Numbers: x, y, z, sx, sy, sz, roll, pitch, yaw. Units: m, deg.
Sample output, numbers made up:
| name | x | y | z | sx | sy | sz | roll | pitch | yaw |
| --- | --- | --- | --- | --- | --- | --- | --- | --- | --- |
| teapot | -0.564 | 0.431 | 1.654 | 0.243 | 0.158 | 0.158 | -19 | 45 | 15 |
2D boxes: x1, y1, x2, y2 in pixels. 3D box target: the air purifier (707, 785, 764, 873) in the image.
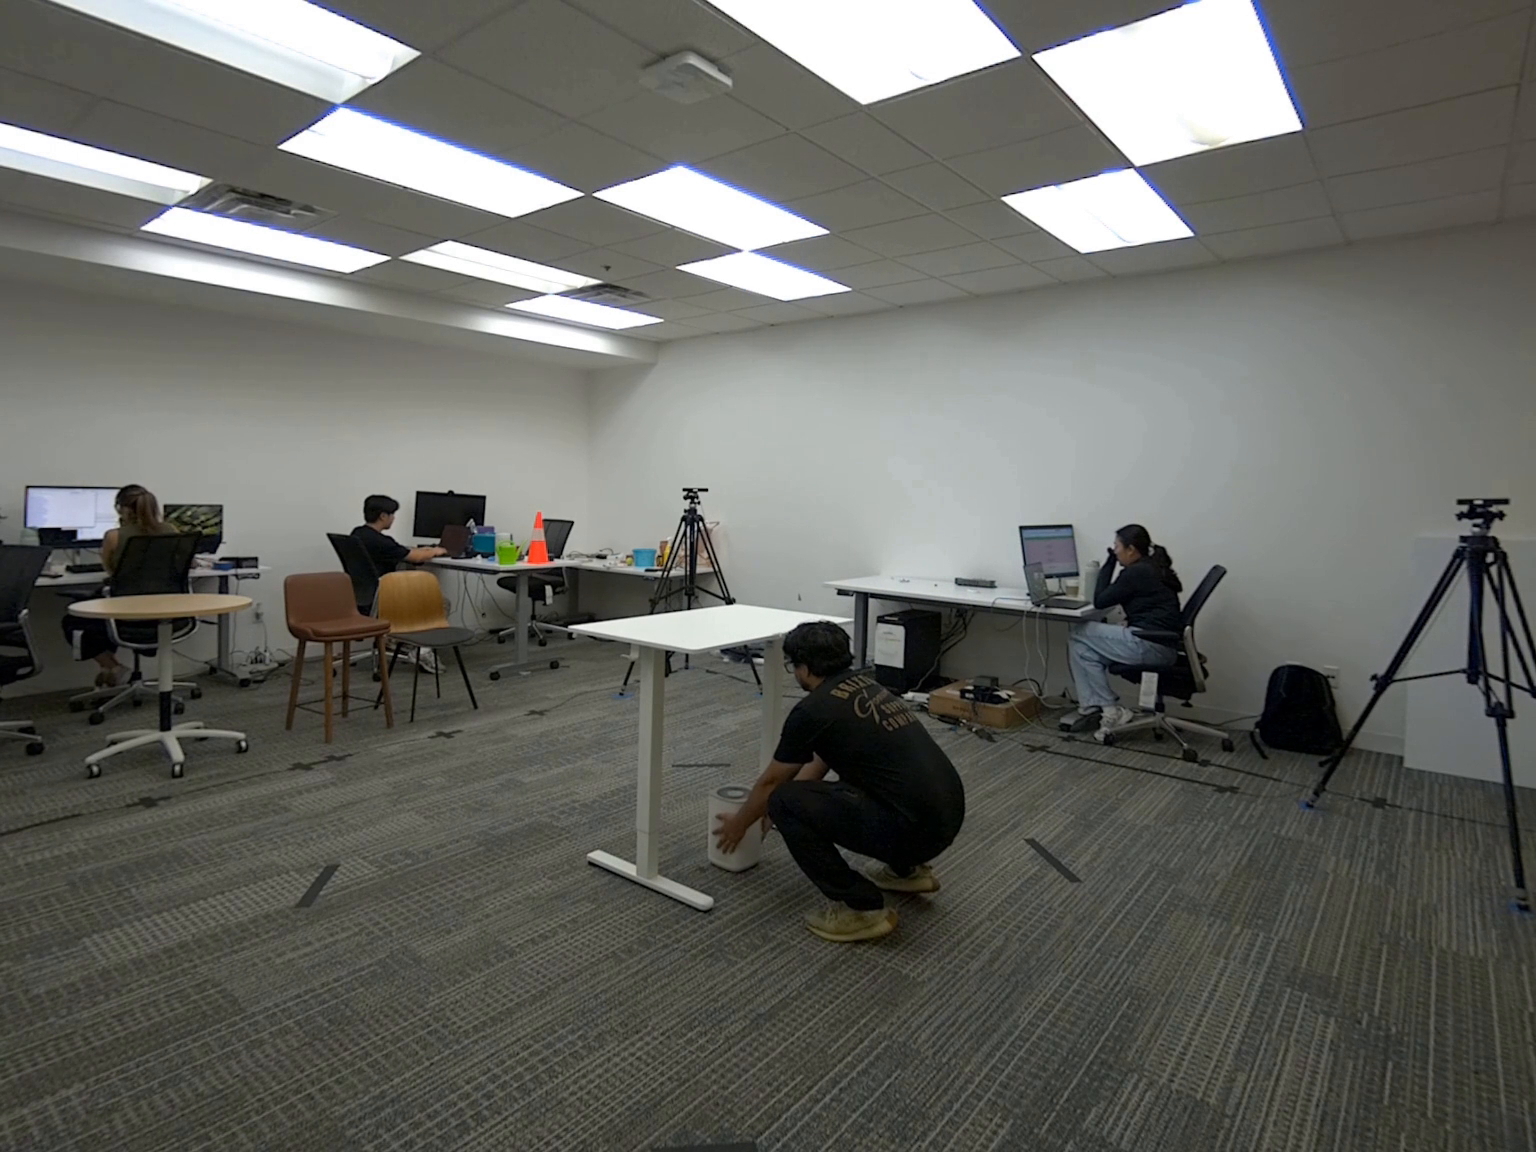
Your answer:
| name | x | y | z | sx | sy | sz | roll | pitch | yaw |
| --- | --- | --- | --- | --- | --- | --- | --- | --- | --- |
| air purifier | -0.132 | 0.932 | 3.160 | 0.177 | 0.265 | 0.166 | 3 | 4 | 40 |
